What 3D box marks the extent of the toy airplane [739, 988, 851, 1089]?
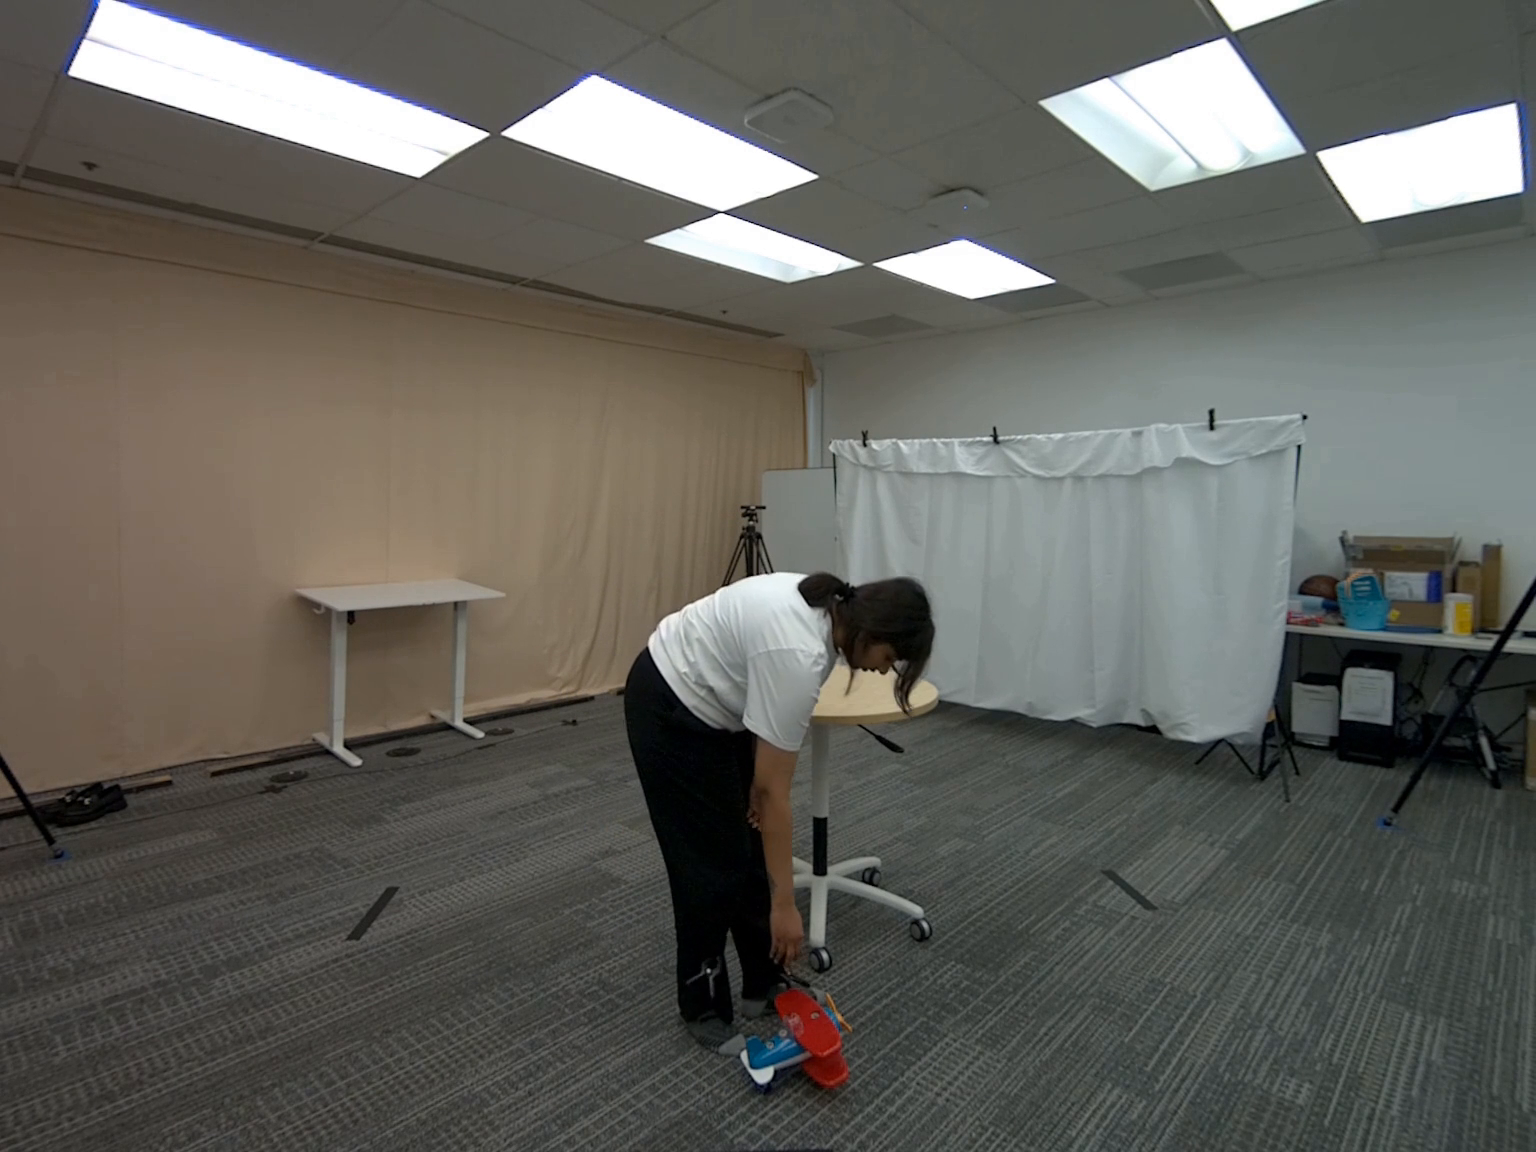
[{"bbox_3d":[0.082,1.158,2.016,0.259,0.156,0.251,5,7,39],"label":"toy airplane"}]
